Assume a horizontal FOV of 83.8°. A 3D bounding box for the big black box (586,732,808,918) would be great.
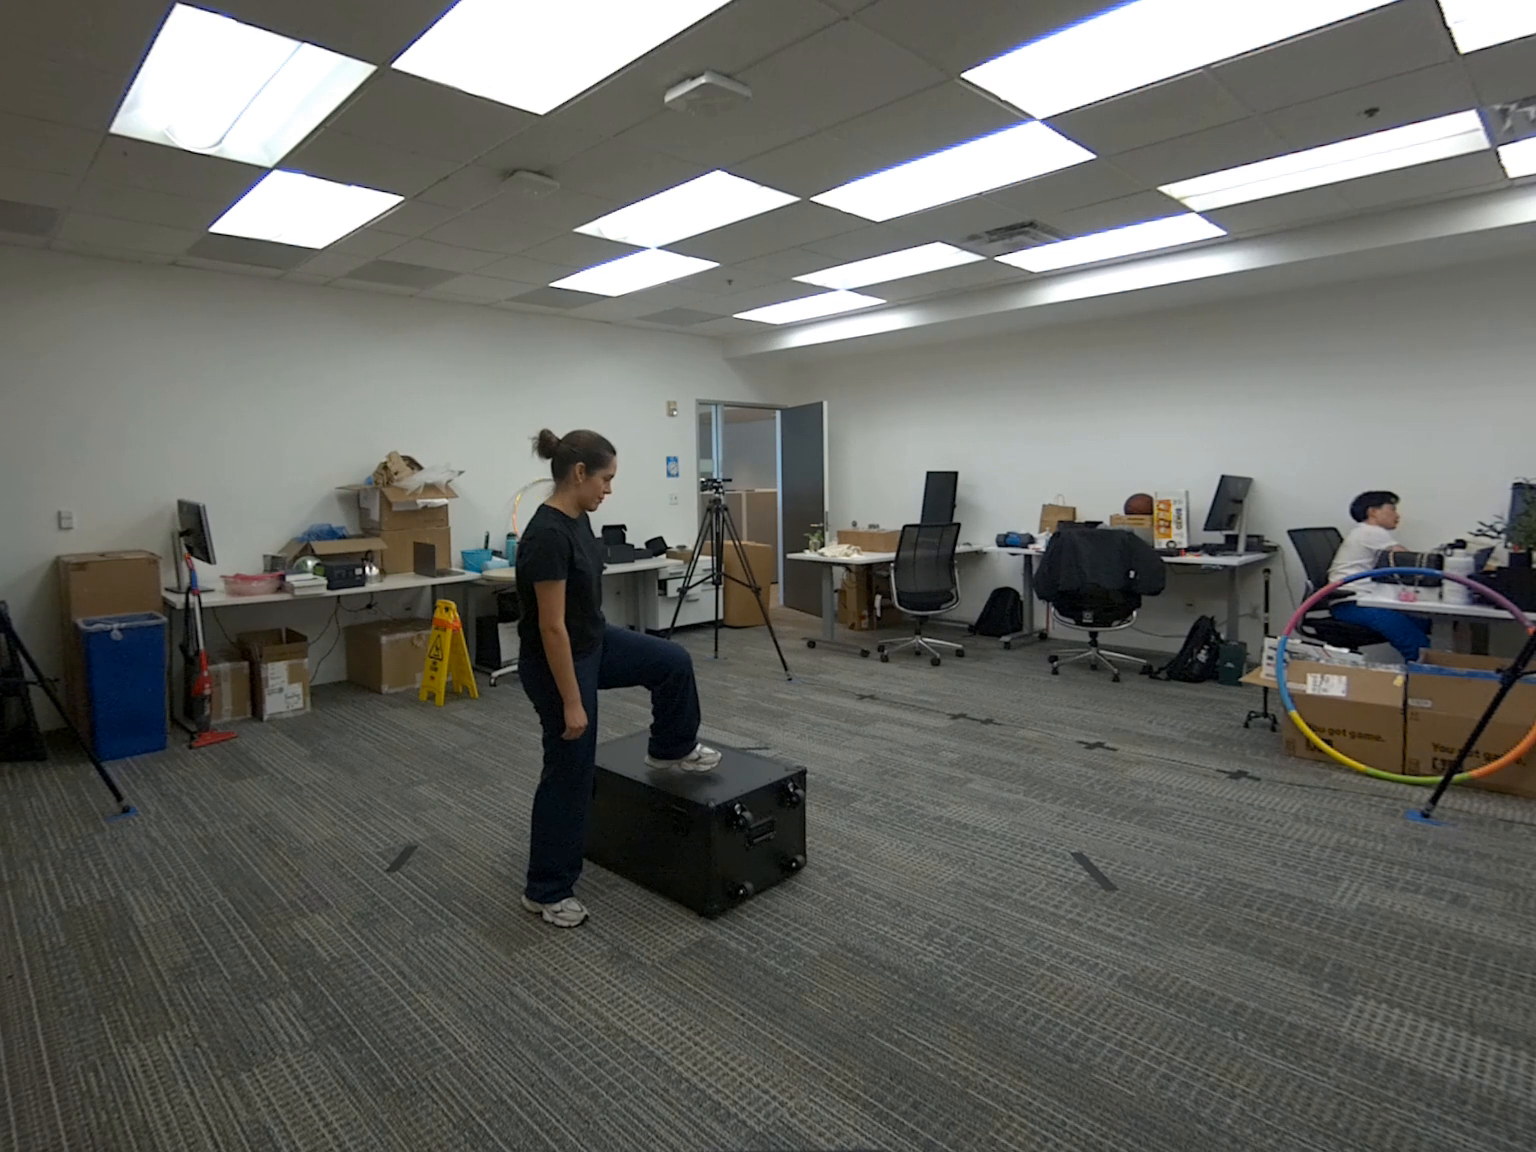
[{"bbox_3d":[-0.292,0.857,3.110,0.888,0.394,0.508,4,8,42],"label":"big black box"}]
